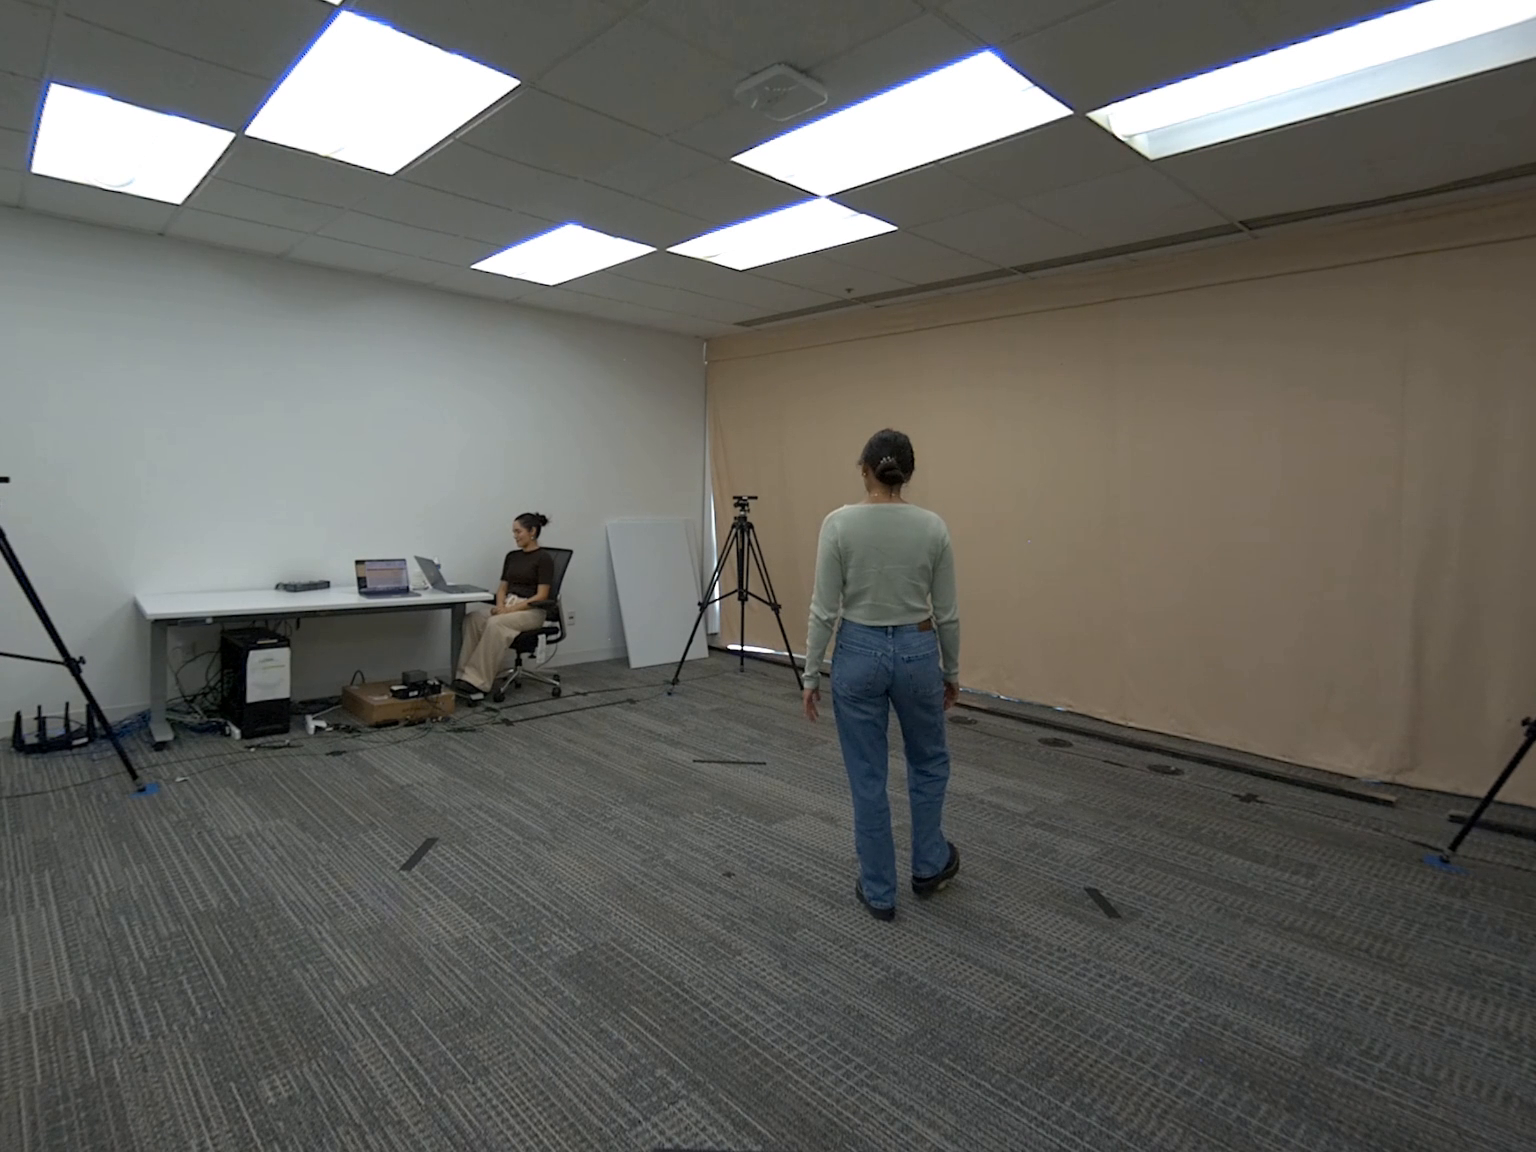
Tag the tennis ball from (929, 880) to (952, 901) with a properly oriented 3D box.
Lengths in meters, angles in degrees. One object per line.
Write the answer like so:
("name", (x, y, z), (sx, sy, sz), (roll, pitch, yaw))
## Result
("tennis ball", (0.612, 1.115, 3.038), (0.066, 0.066, 0.067), (1, 4, -1))
